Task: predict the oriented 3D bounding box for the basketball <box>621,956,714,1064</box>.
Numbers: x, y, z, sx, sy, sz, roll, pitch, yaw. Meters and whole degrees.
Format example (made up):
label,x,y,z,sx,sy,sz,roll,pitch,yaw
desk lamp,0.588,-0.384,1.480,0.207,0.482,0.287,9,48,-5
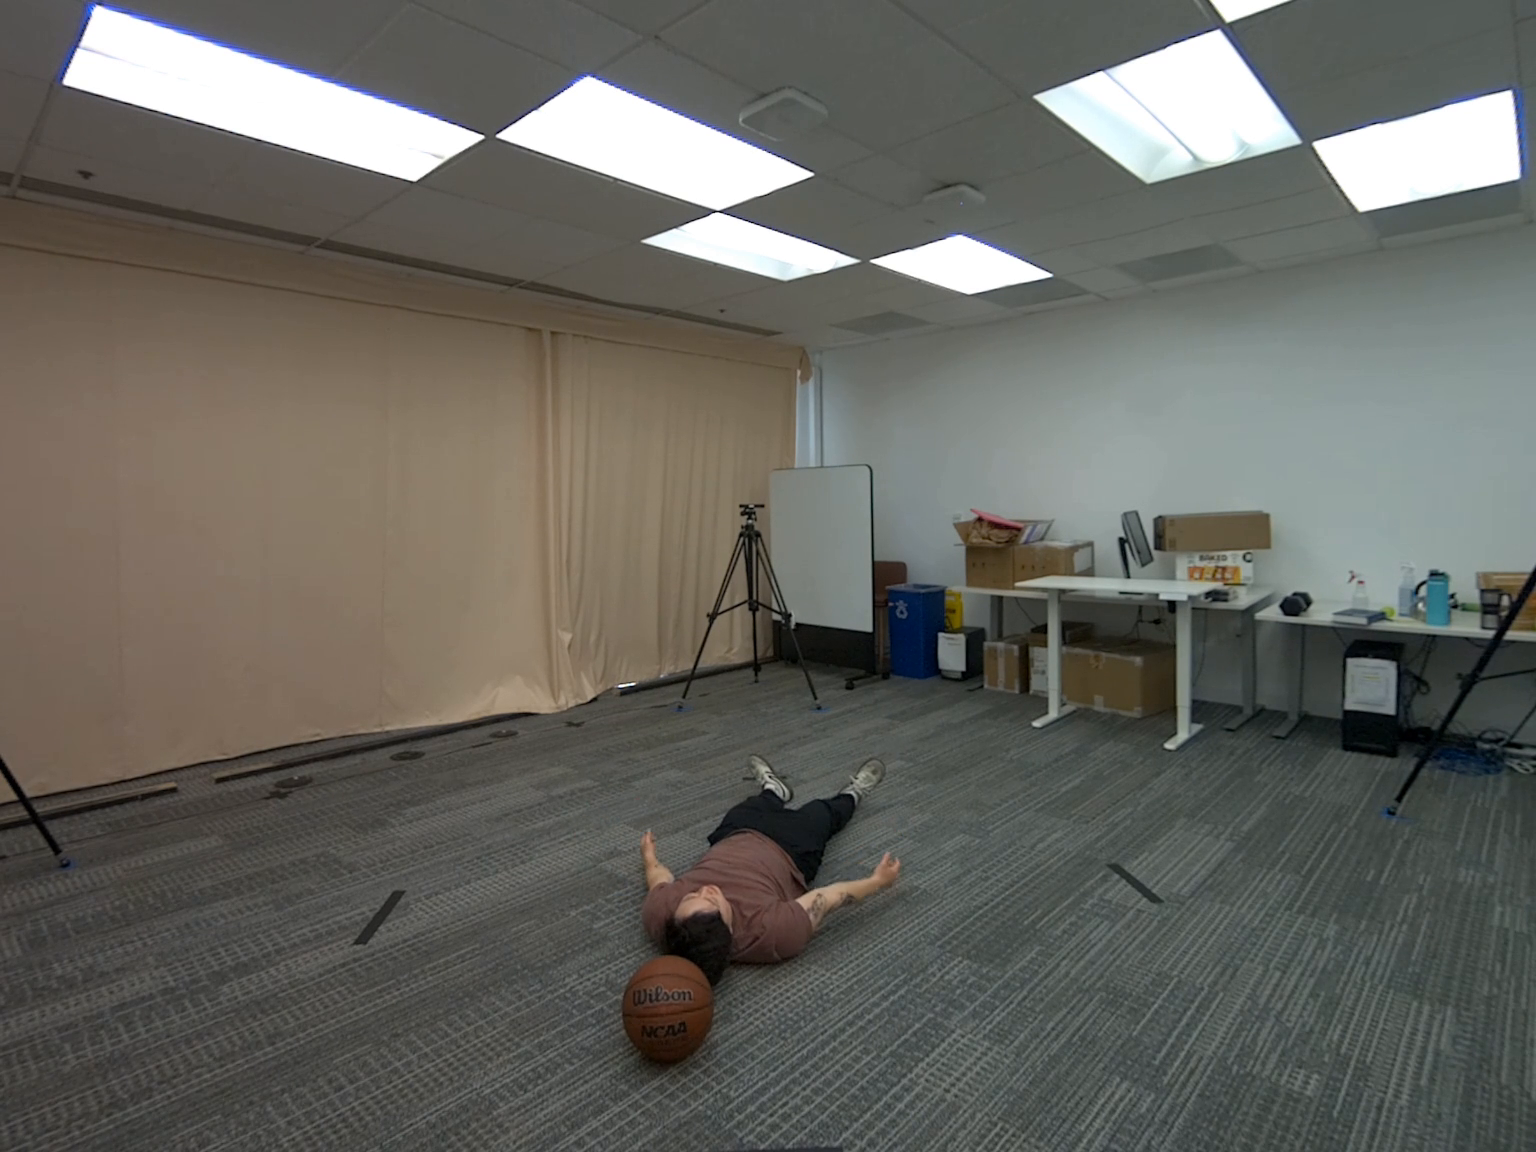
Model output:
label,x,y,z,sx,sy,sz,roll,pitch,yaw
basketball,-0.246,1.095,2.144,0.235,0.235,0.237,3,5,-2
